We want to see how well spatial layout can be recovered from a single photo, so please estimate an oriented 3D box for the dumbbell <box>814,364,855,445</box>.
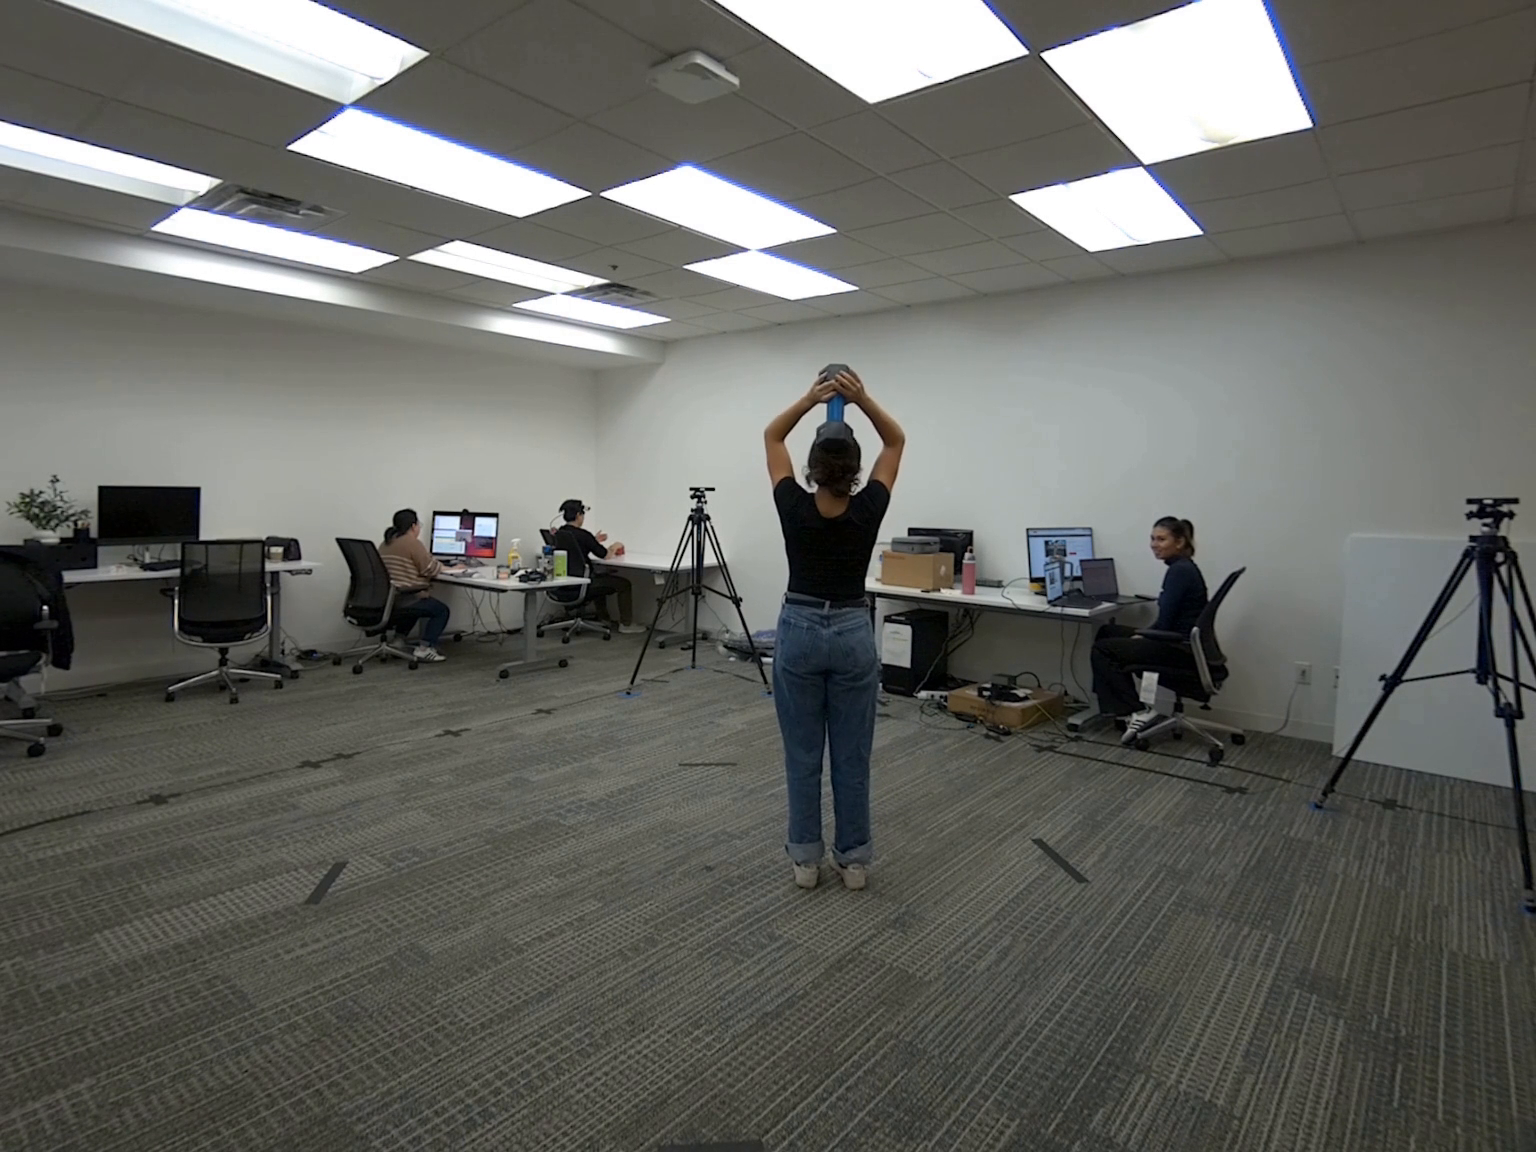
[{"bbox_3d":[0.219,-0.561,2.850,0.111,0.298,0.118,-7,-22,32],"label":"dumbbell"}]
